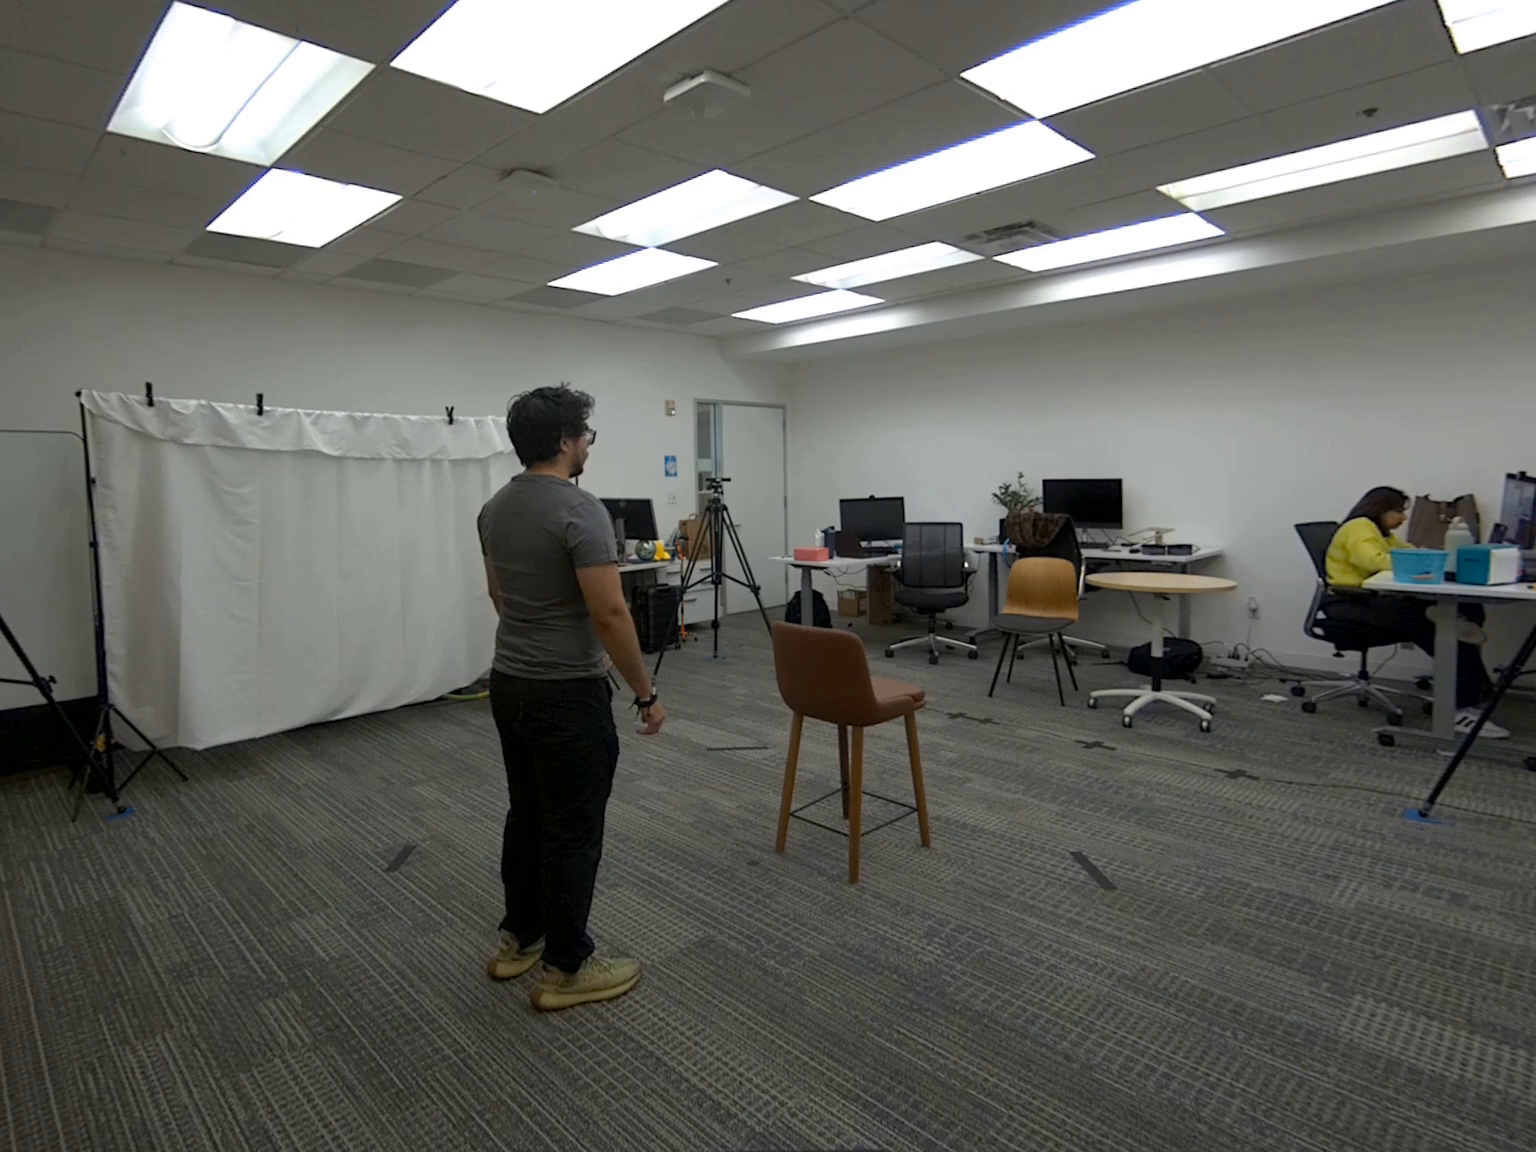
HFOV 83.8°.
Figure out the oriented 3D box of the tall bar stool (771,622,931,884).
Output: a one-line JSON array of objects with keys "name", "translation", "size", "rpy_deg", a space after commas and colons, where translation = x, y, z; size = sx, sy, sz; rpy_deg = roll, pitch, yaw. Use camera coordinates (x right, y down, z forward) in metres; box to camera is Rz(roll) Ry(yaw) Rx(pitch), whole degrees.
[{"name": "tall bar stool", "translation": [0.306, 0.593, 3.189], "size": [0.455, 0.885, 0.471], "rpy_deg": [-7, 7, -44]}]
